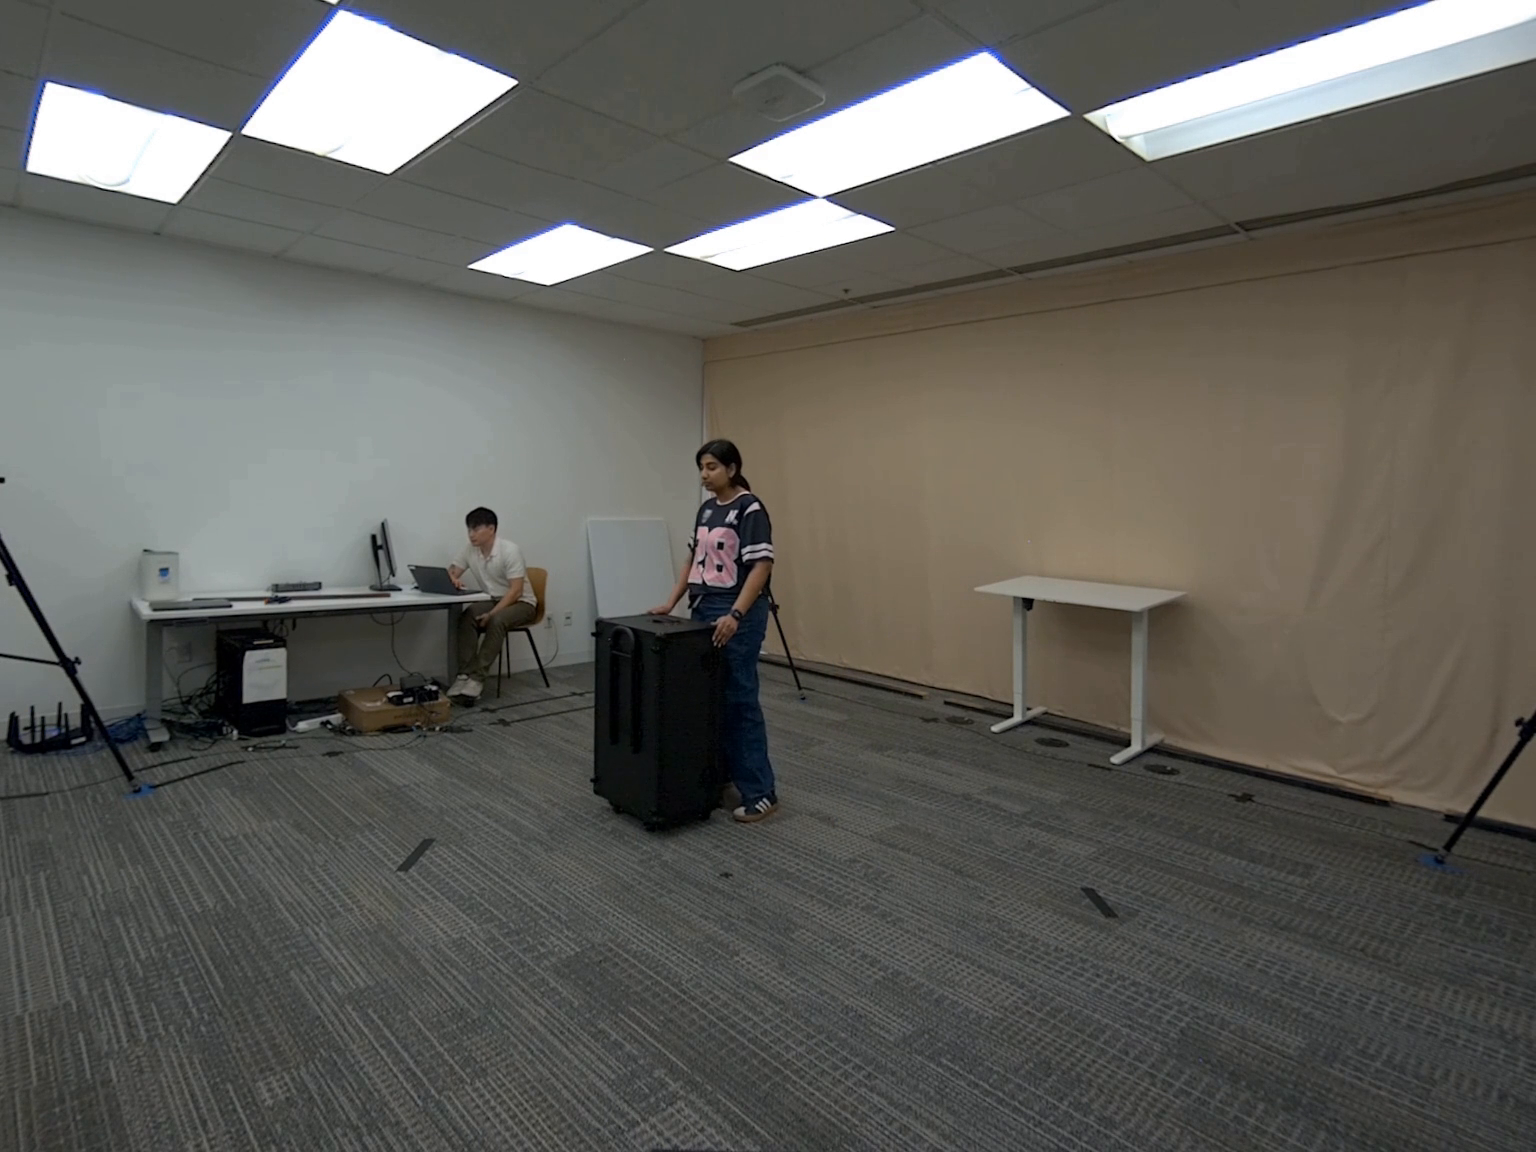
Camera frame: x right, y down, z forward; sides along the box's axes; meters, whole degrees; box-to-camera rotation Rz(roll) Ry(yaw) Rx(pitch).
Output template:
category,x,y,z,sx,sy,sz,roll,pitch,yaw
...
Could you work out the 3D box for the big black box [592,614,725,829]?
category,x,y,z,sx,sy,sz,roll,pitch,yaw
big black box,-0.483,0.629,3.638,0.376,0.866,0.537,-2,5,-43
